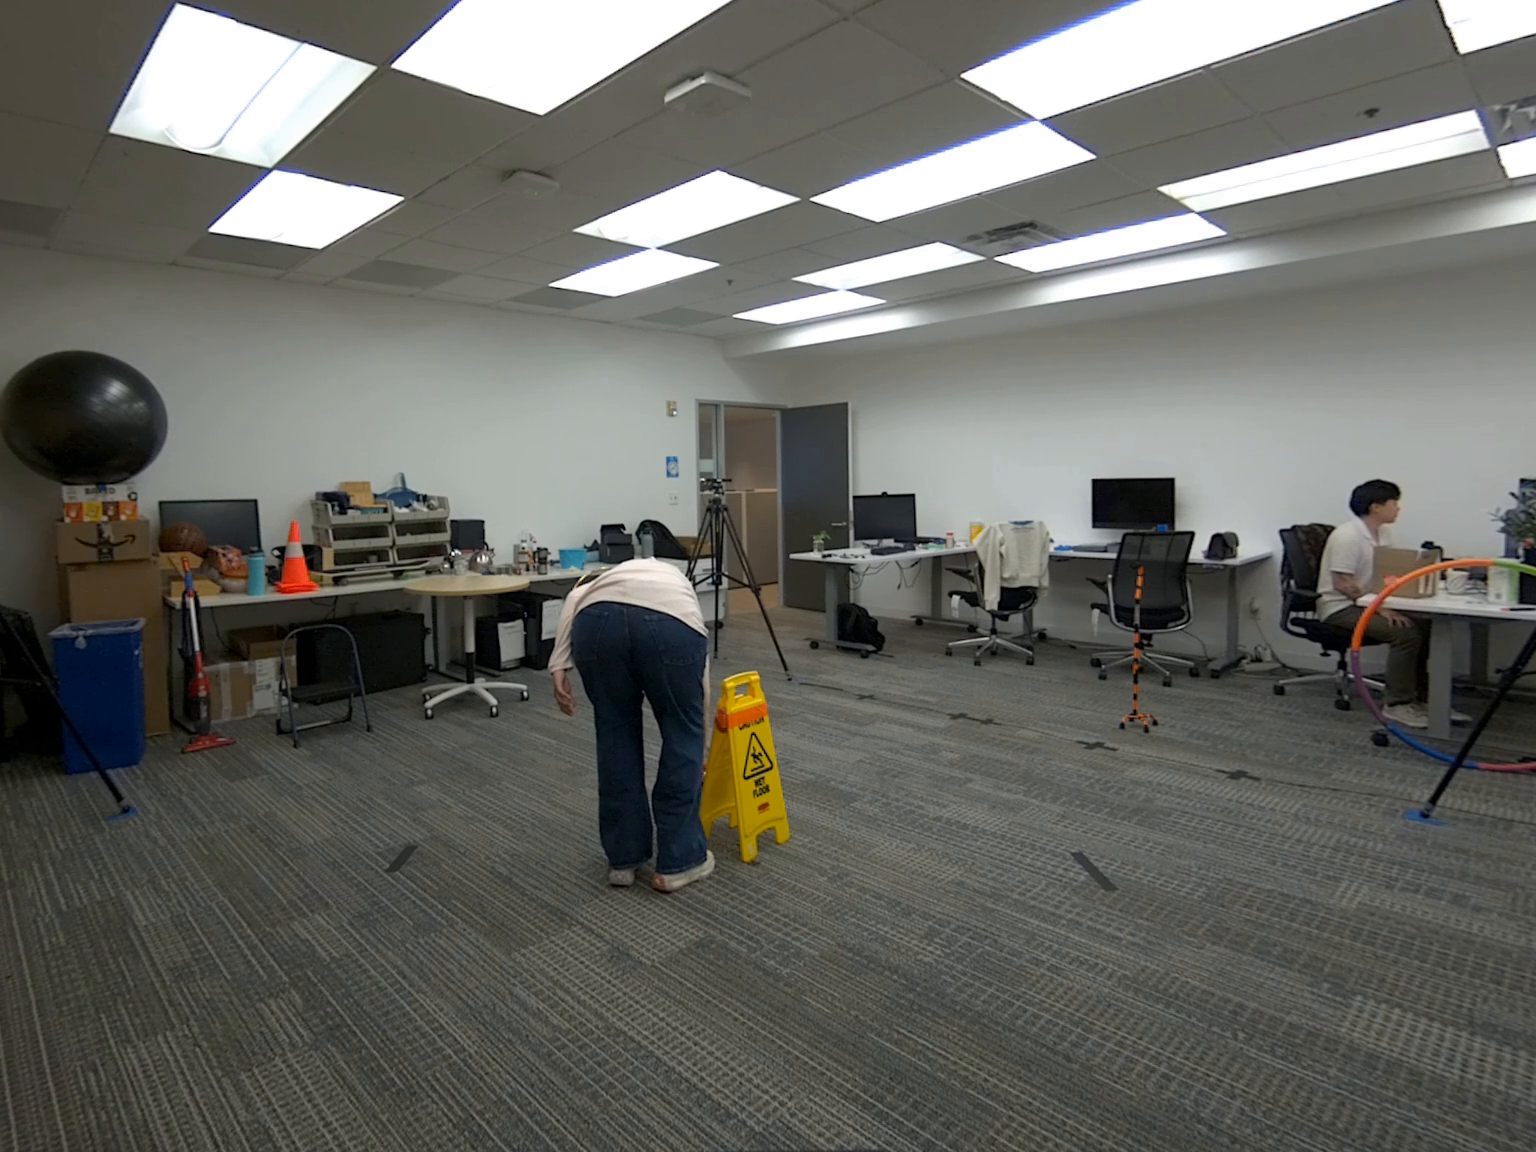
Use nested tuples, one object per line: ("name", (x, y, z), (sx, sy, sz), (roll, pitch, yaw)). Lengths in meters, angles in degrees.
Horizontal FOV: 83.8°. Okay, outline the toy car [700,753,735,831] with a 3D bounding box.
("toy car", (-0.223, 0.848, 3.378), (0.086, 0.250, 0.128), (24, 28, 32))
